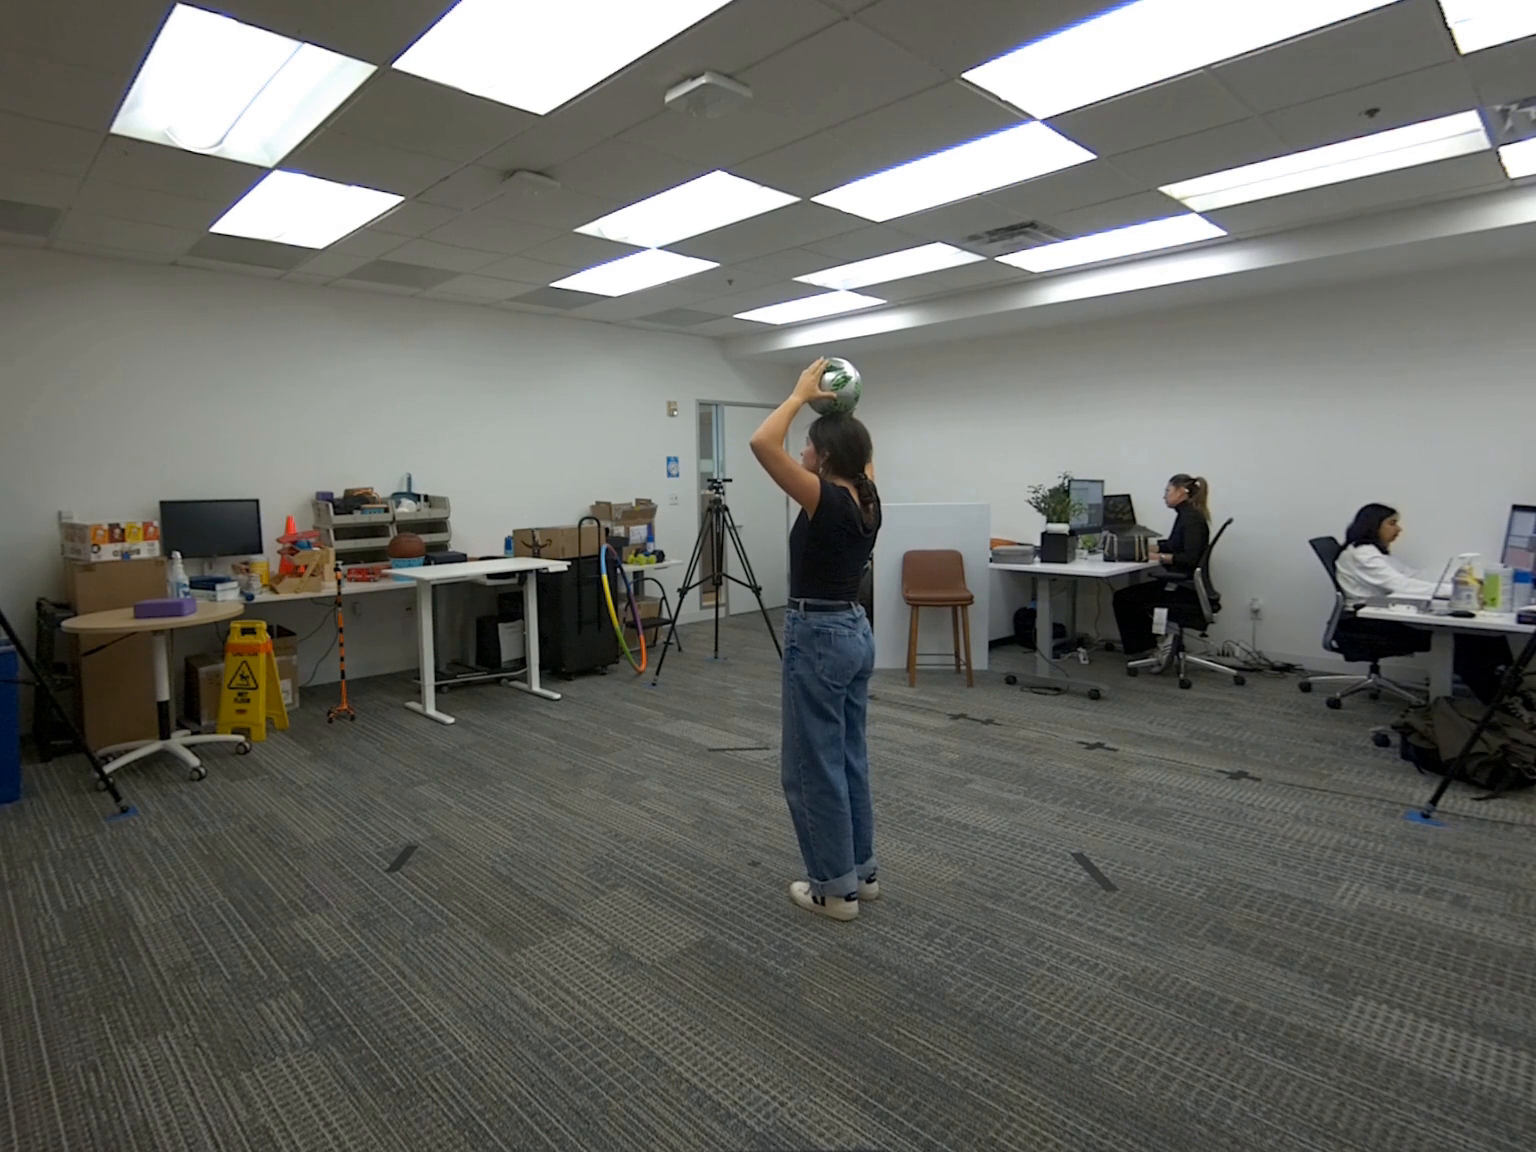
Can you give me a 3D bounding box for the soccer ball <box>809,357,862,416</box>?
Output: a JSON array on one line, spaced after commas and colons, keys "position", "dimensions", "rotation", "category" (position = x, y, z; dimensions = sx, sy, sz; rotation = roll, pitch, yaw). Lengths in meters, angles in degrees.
[{"position": [0.211, -0.600, 2.750], "dimensions": [0.187, 0.187, 0.188], "rotation": [-1, 5, -2], "category": "soccer ball"}]
